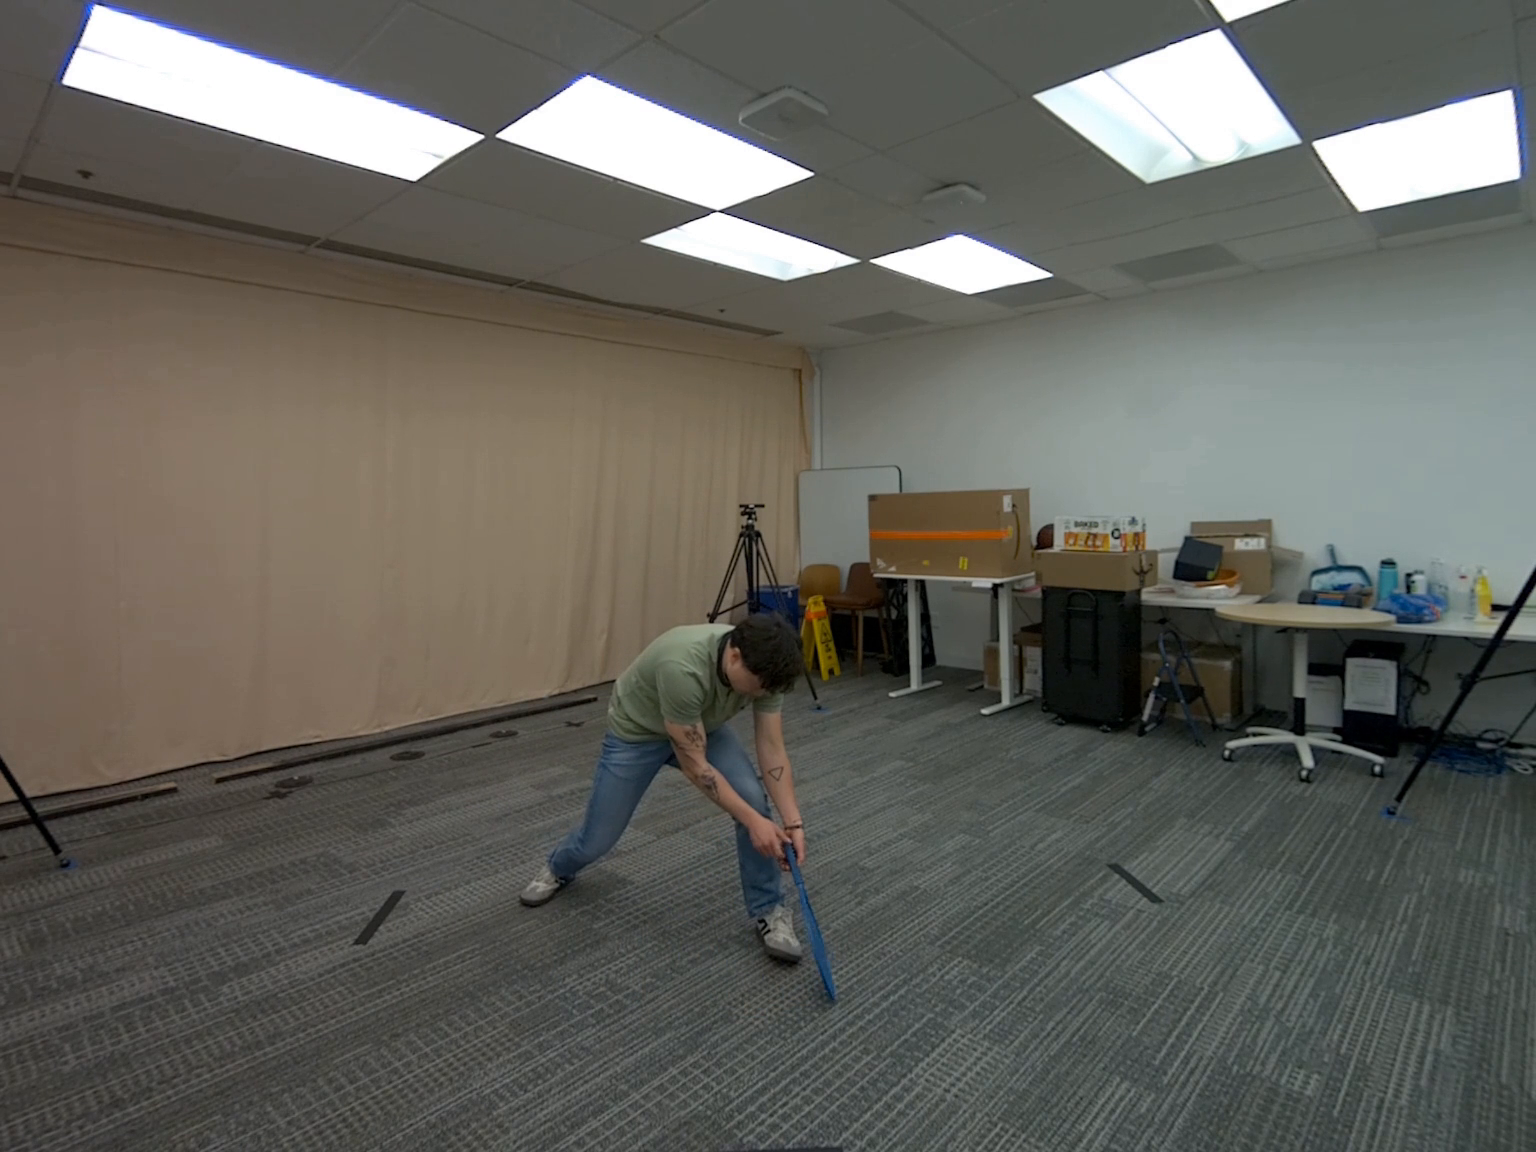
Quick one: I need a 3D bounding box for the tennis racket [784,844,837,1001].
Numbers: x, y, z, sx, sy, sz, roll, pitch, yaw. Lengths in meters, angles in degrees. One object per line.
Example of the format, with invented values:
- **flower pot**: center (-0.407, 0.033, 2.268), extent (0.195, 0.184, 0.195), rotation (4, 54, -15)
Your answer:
- **tennis racket**: center (0.132, 0.989, 2.440), extent (0.032, 0.441, 0.210), rotation (-15, -23, -2)
